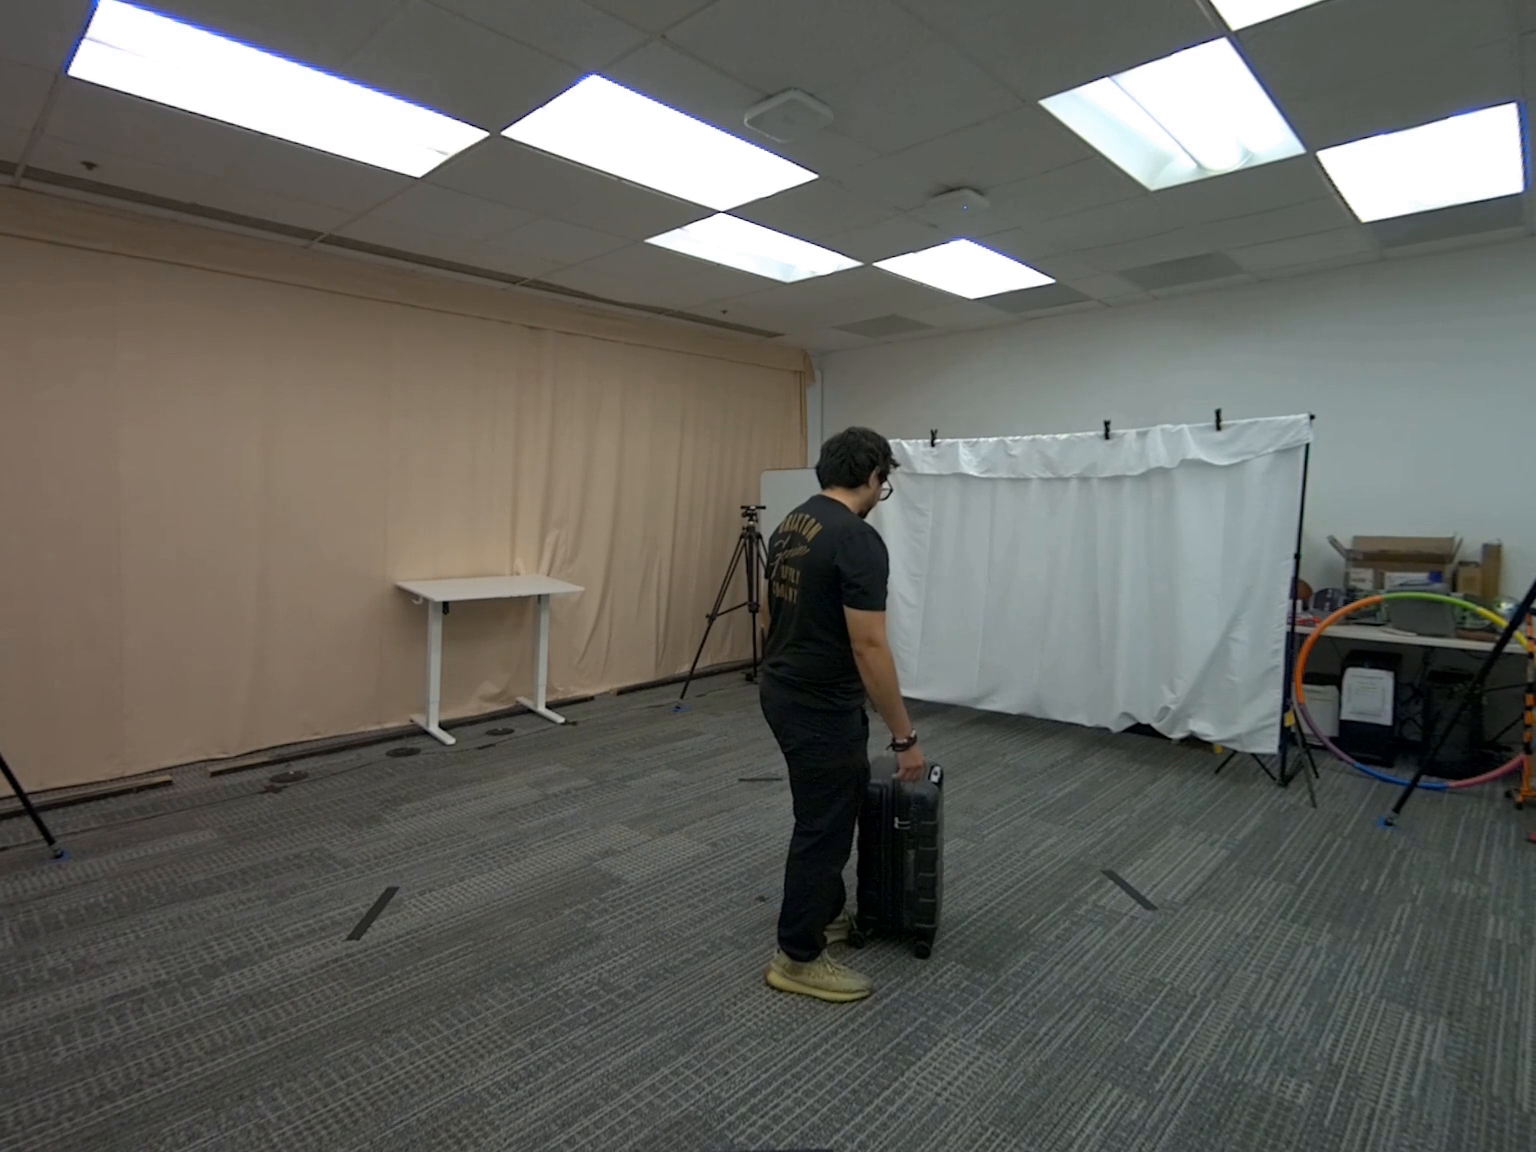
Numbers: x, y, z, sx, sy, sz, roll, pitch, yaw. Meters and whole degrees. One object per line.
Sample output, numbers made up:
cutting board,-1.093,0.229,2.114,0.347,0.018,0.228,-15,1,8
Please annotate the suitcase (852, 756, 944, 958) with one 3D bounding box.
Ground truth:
suitcase,0.438,0.882,2.750,0.253,0.548,0.369,1,4,17
